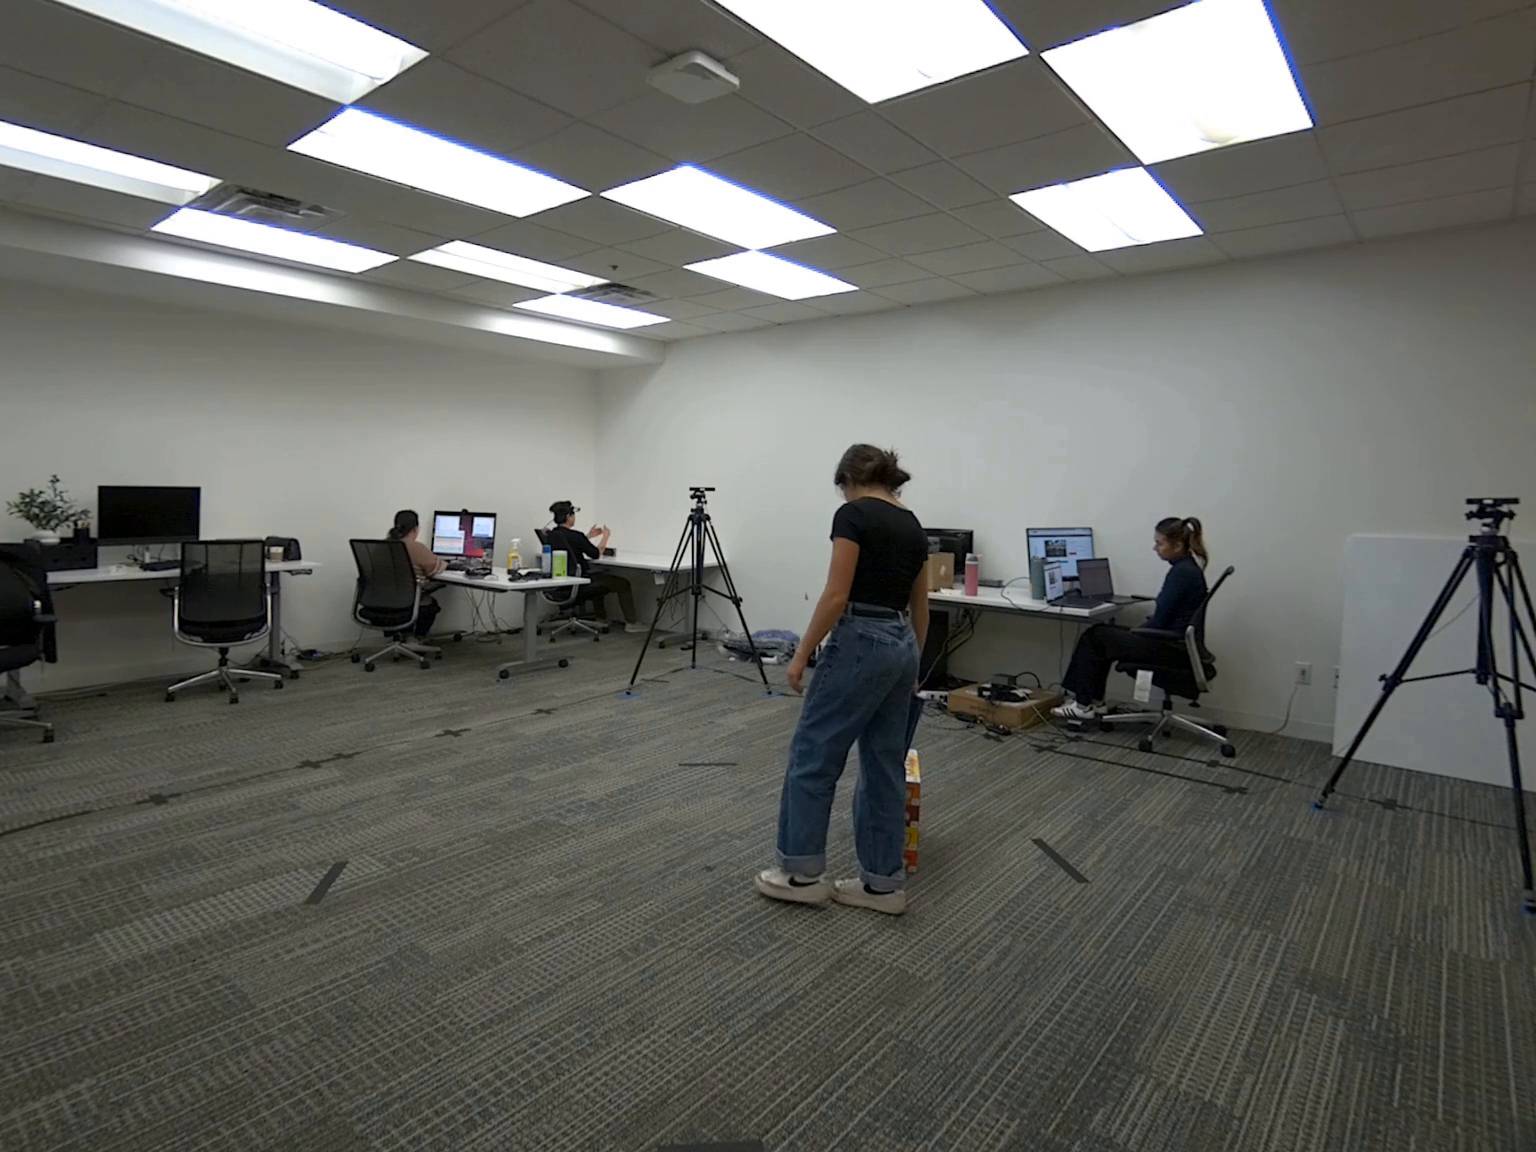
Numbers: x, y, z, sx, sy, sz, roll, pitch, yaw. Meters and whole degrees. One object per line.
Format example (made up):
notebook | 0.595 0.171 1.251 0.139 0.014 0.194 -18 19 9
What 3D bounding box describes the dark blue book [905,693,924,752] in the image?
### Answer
dark blue book | 0.448 0.525 3.050 0.043 0.245 0.170 18 1 -39
